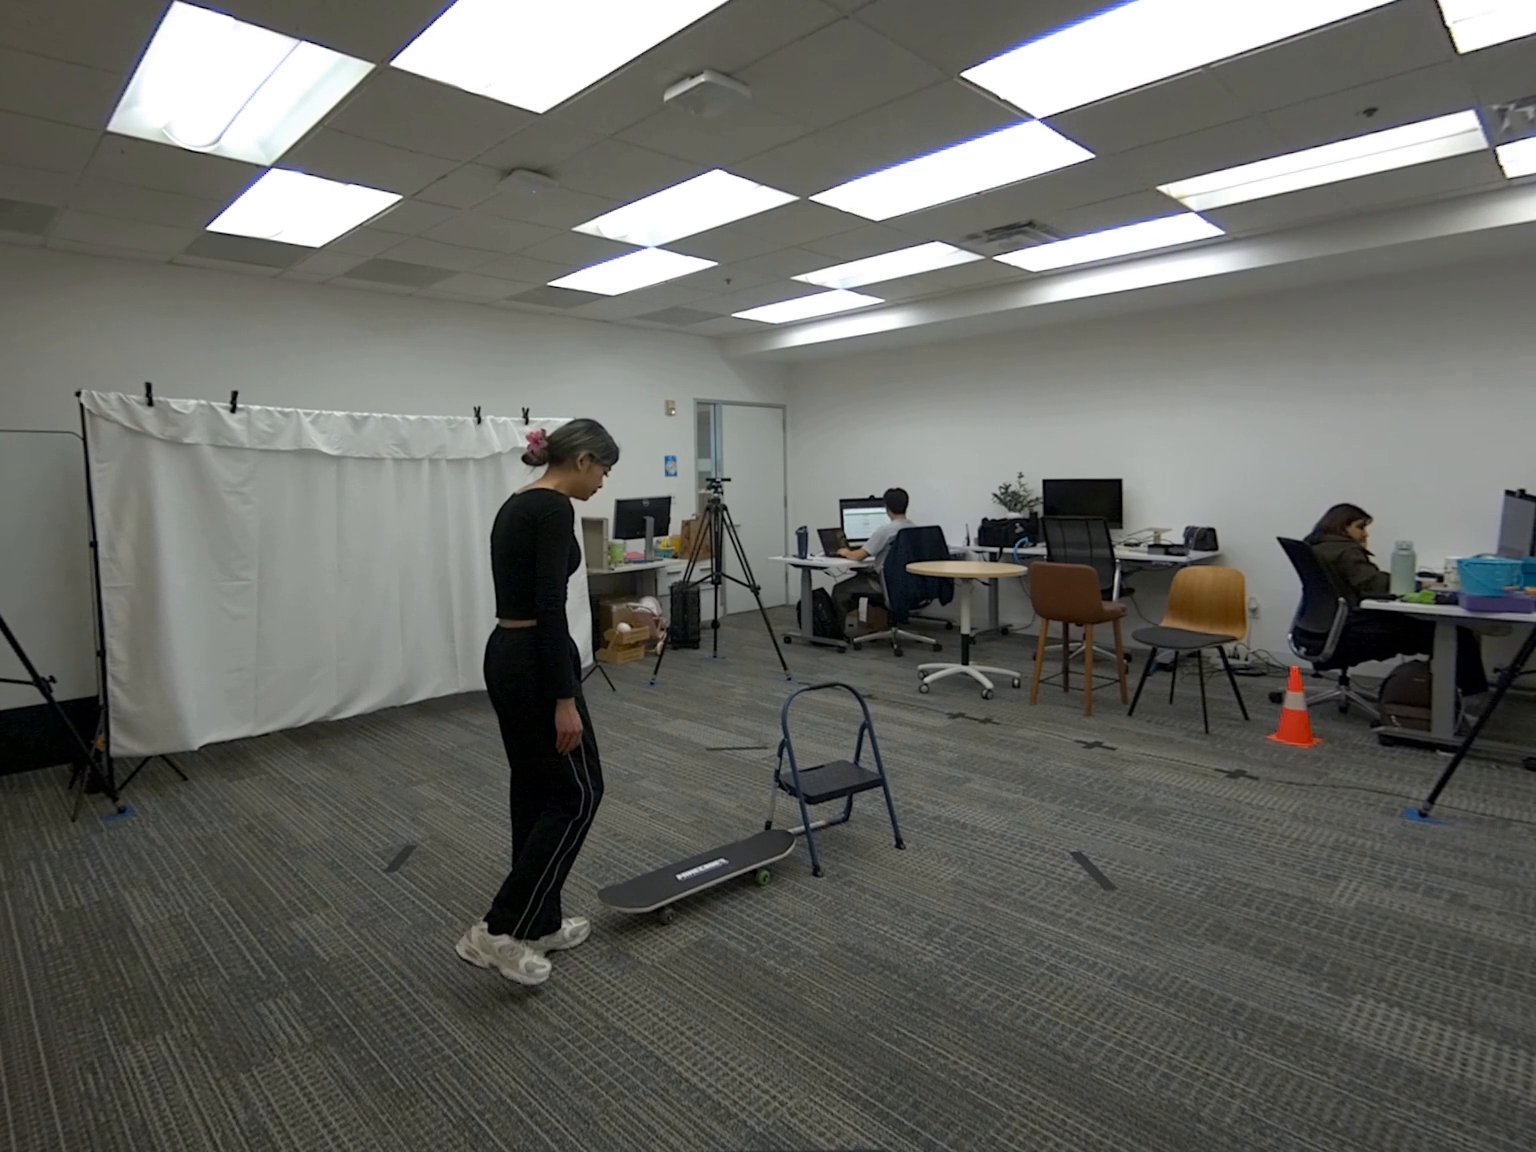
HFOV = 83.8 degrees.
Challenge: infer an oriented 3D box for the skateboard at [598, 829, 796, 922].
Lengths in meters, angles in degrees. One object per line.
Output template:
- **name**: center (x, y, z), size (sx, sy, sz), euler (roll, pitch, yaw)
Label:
- **skateboard**: center (-0.217, 1.019, 2.866), size (0.765, 0.110, 0.199), euler (-6, 7, -40)
